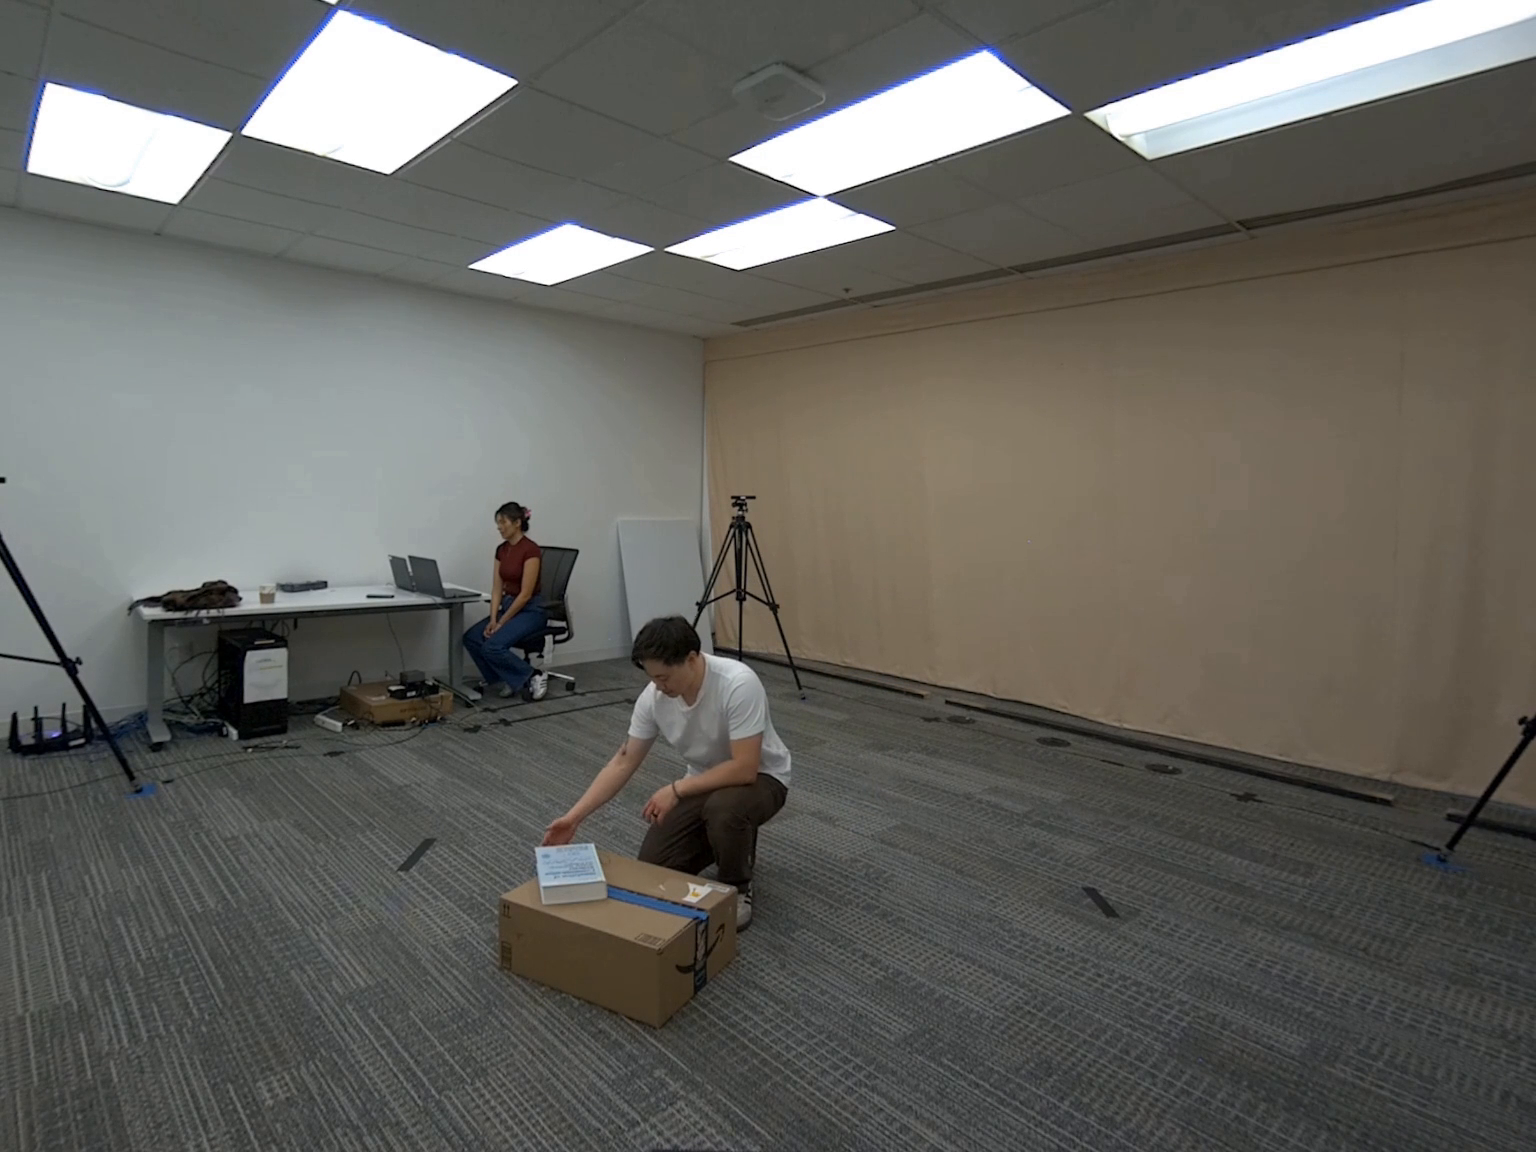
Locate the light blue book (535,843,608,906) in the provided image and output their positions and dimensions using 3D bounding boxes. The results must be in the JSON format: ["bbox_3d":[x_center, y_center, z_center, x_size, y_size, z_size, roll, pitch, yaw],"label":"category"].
[{"bbox_3d":[-0.611,0.906,2.553,0.189,0.059,0.266,-1,6,-19],"label":"light blue book"}]
